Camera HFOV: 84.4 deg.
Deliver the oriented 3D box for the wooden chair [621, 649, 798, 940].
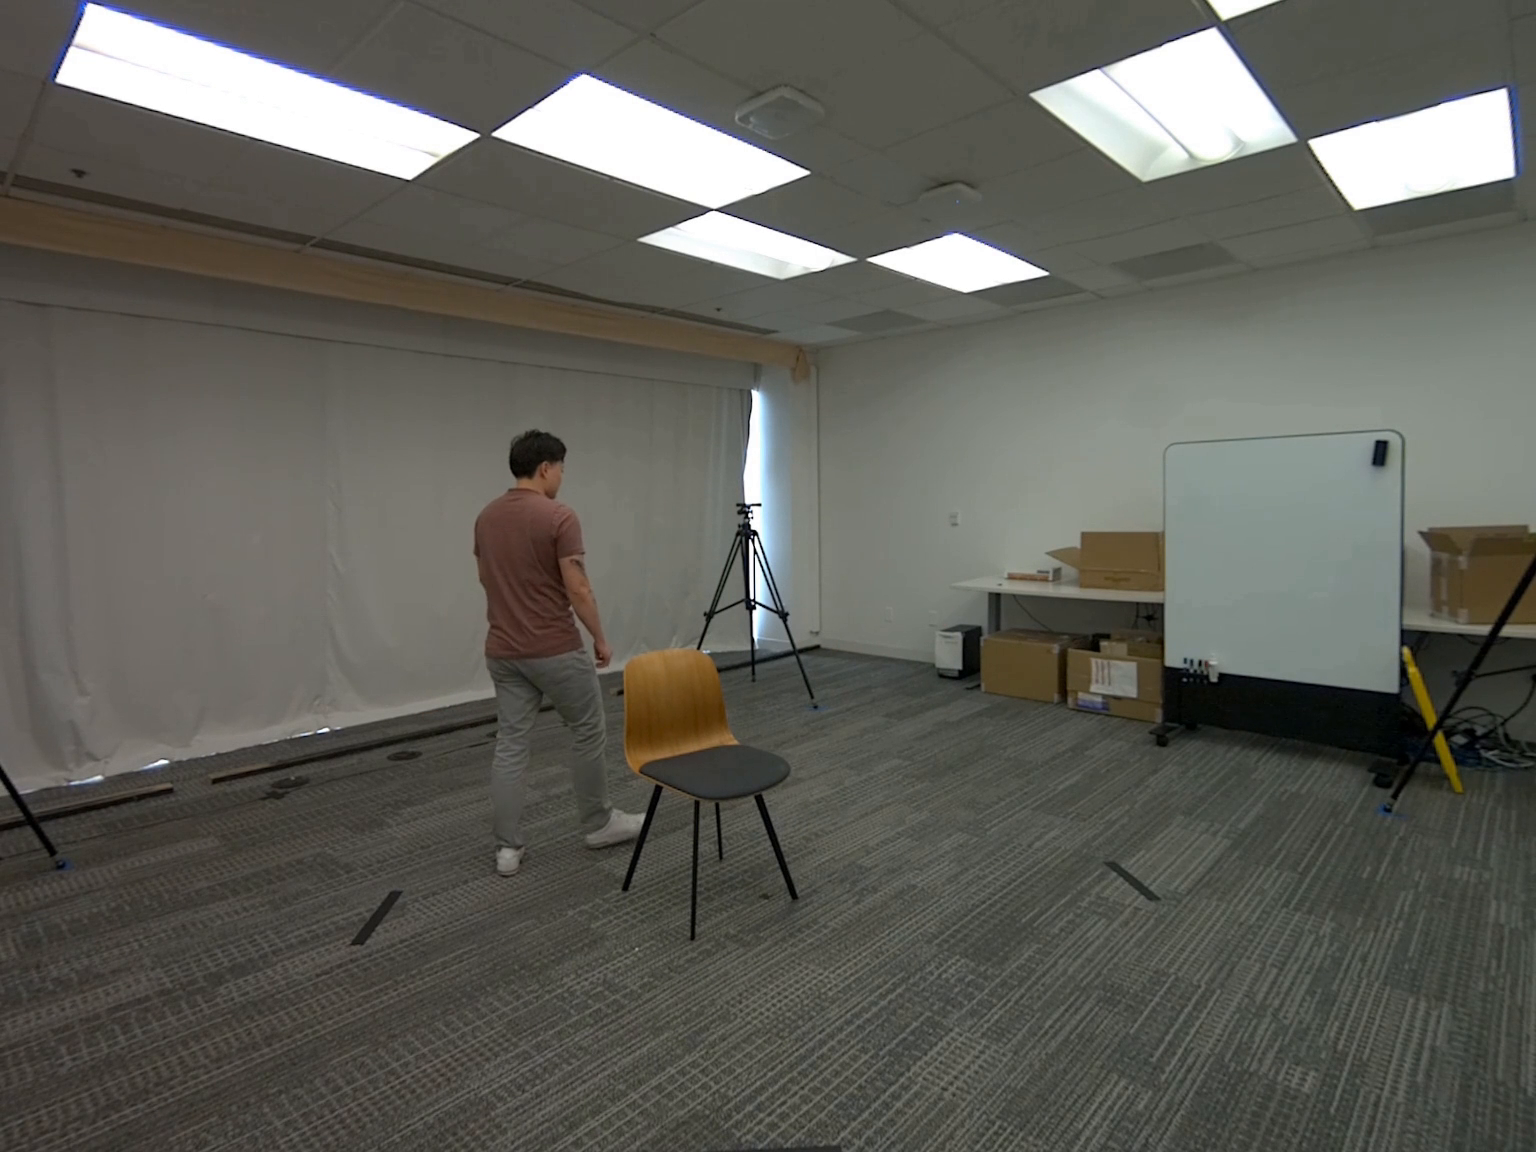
[{"bbox_3d":[-0.214,0.715,2.963,0.464,0.877,0.539,-4,0,-38],"label":"wooden chair"}]
